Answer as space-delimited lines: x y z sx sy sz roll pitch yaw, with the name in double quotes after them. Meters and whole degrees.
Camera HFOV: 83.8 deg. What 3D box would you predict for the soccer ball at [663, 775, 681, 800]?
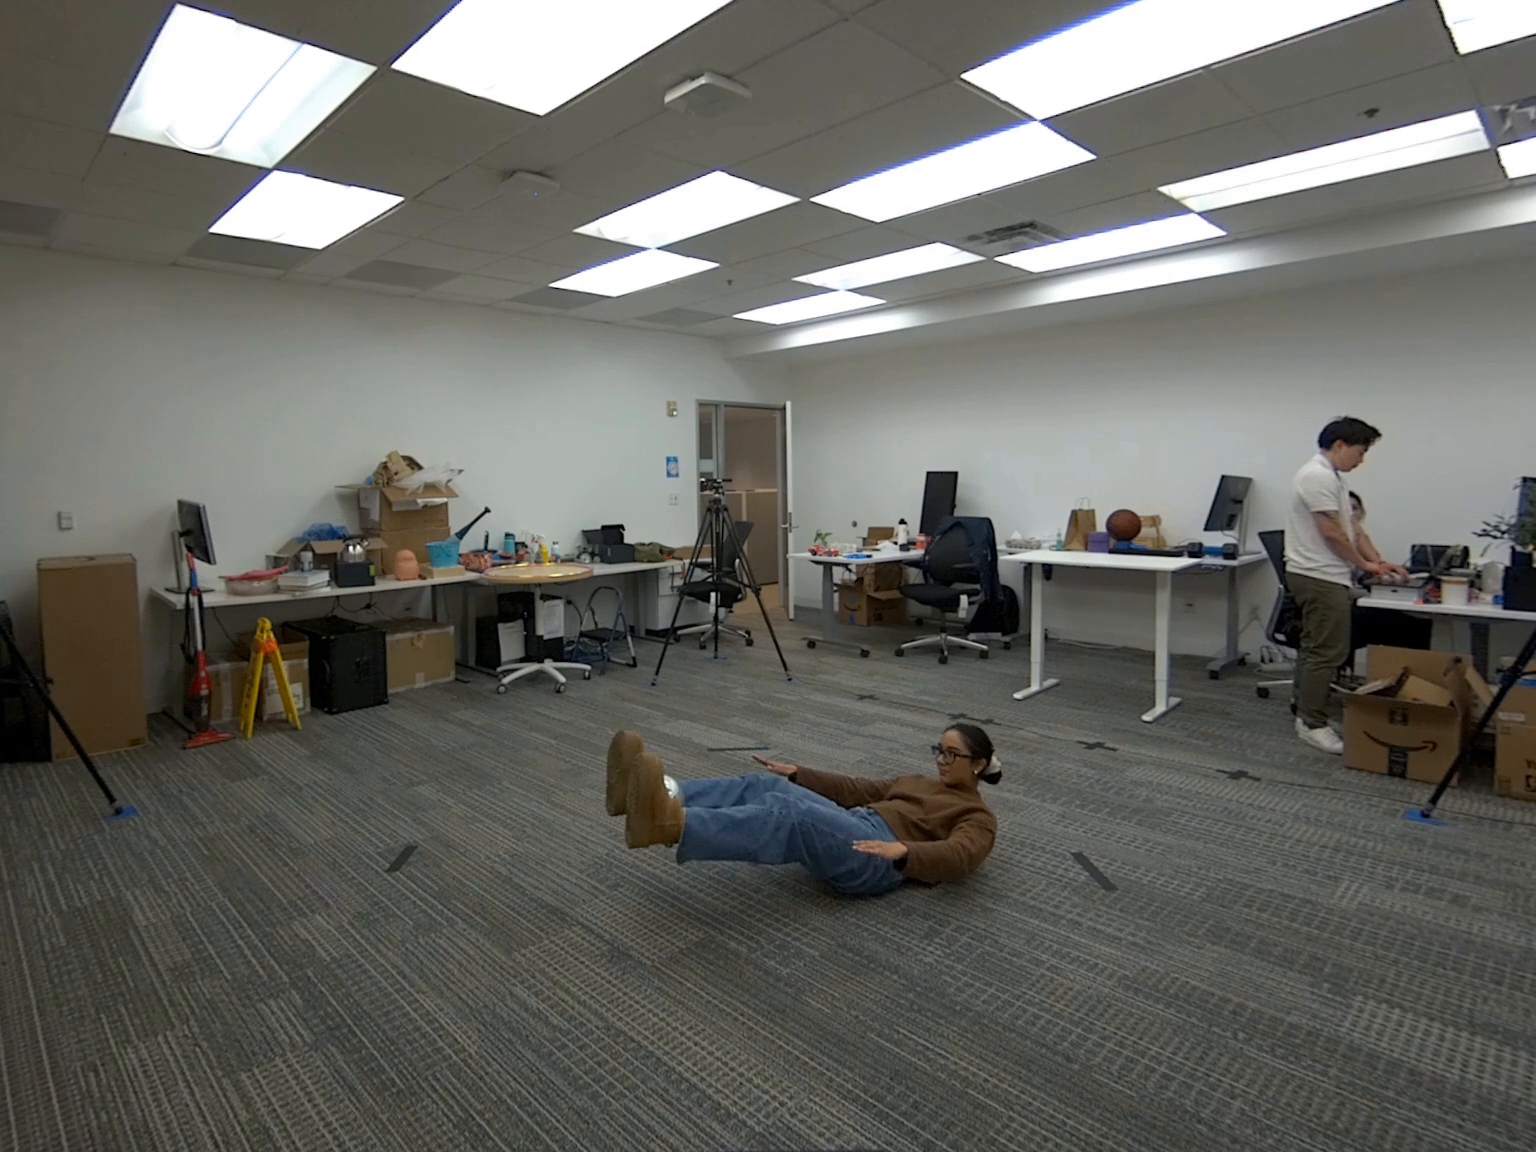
-0.343 0.721 2.686 0.187 0.187 0.188 -1 5 -2 "soccer ball"
